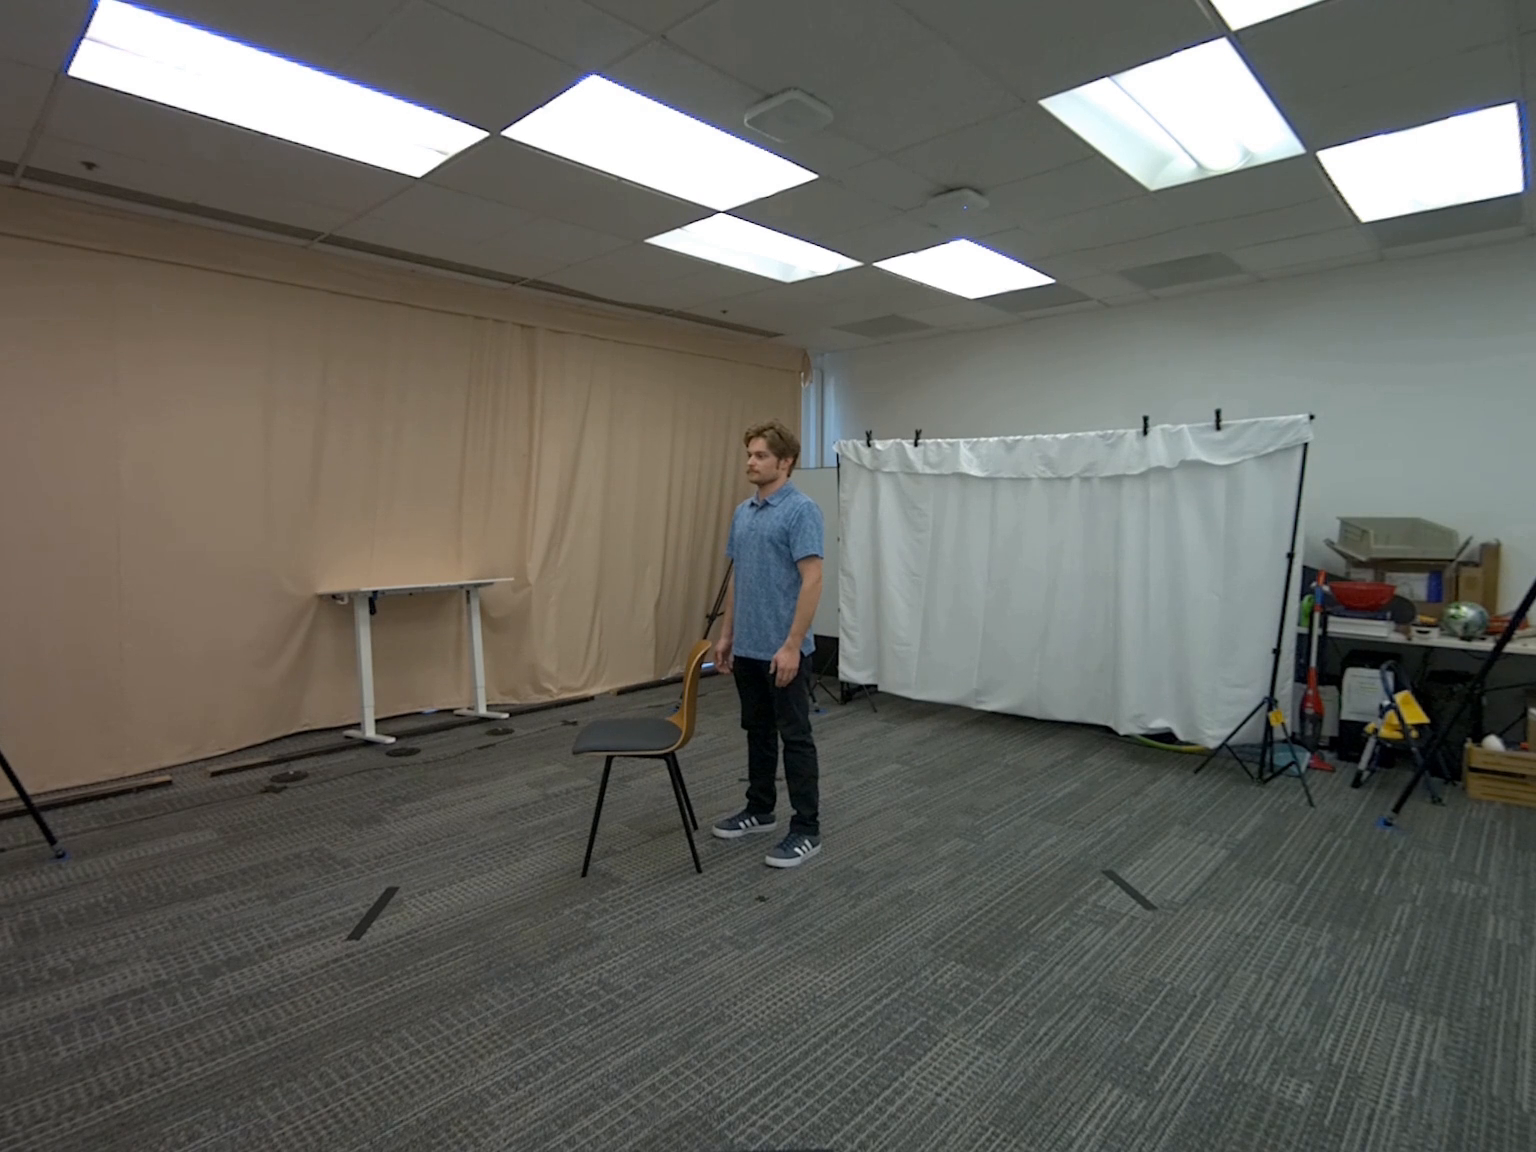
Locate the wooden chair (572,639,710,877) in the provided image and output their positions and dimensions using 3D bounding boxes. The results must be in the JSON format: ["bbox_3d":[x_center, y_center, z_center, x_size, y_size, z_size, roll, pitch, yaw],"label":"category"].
[{"bbox_3d":[-0.511,0.687,3.371,0.521,0.876,0.481,3,3,-5],"label":"wooden chair"}]
